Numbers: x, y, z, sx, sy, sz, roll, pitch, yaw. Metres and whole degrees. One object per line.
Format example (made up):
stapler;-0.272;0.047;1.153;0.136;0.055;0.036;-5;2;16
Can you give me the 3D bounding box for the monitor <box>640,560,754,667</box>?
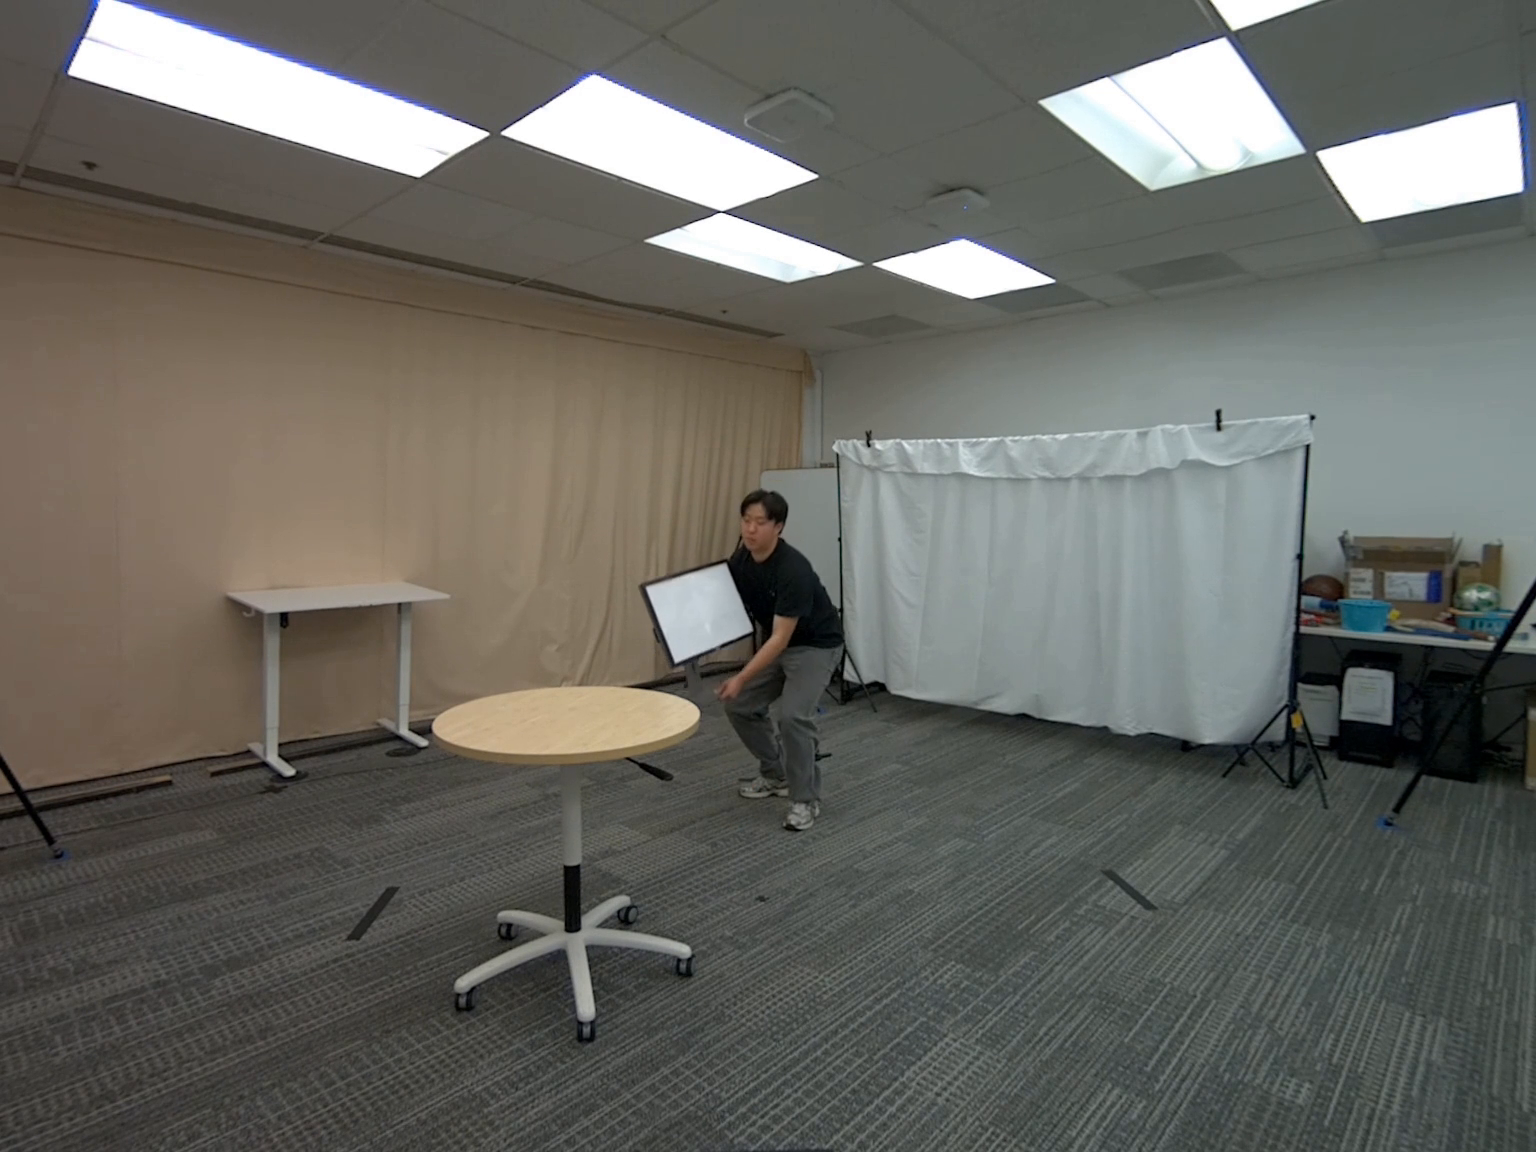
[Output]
monitor;-0.293;0.253;3.600;0.229;0.563;0.547;-2;10;42
